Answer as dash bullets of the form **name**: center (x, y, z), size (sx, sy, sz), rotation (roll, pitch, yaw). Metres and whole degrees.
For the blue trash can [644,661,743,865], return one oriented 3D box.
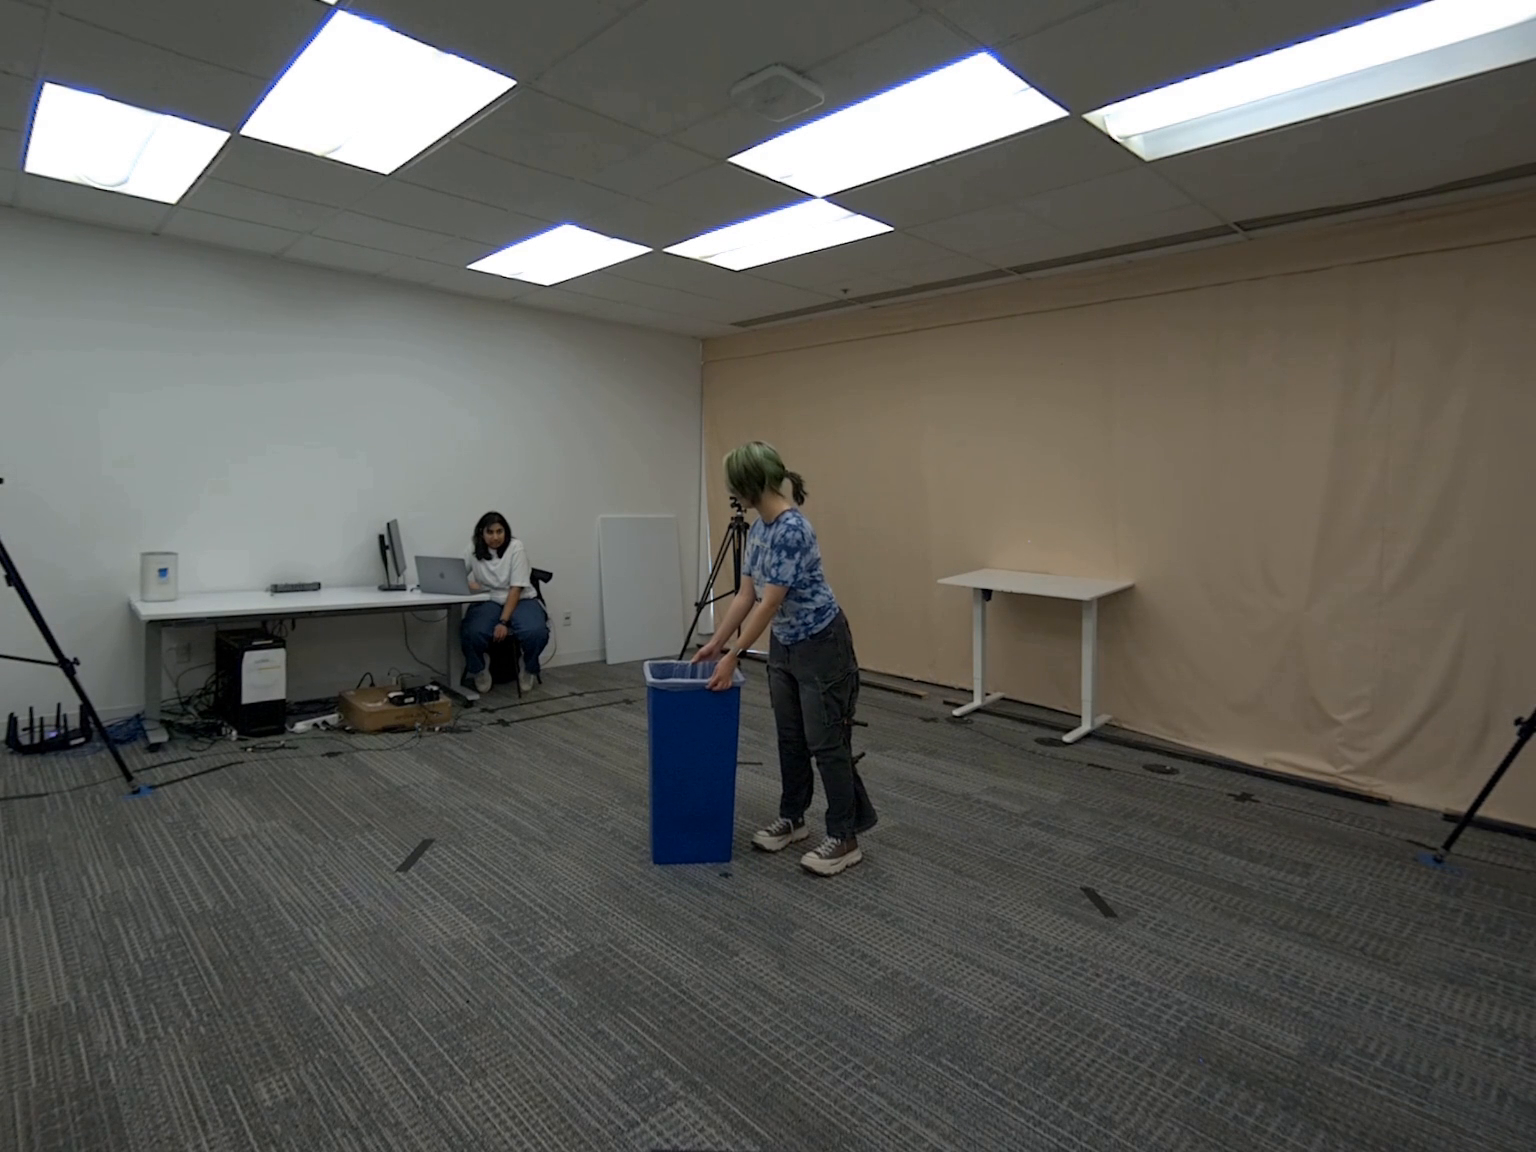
- **blue trash can**: center (-0.305, 0.721, 3.311), size (0.375, 0.712, 0.378), rotation (1, 3, -11)
